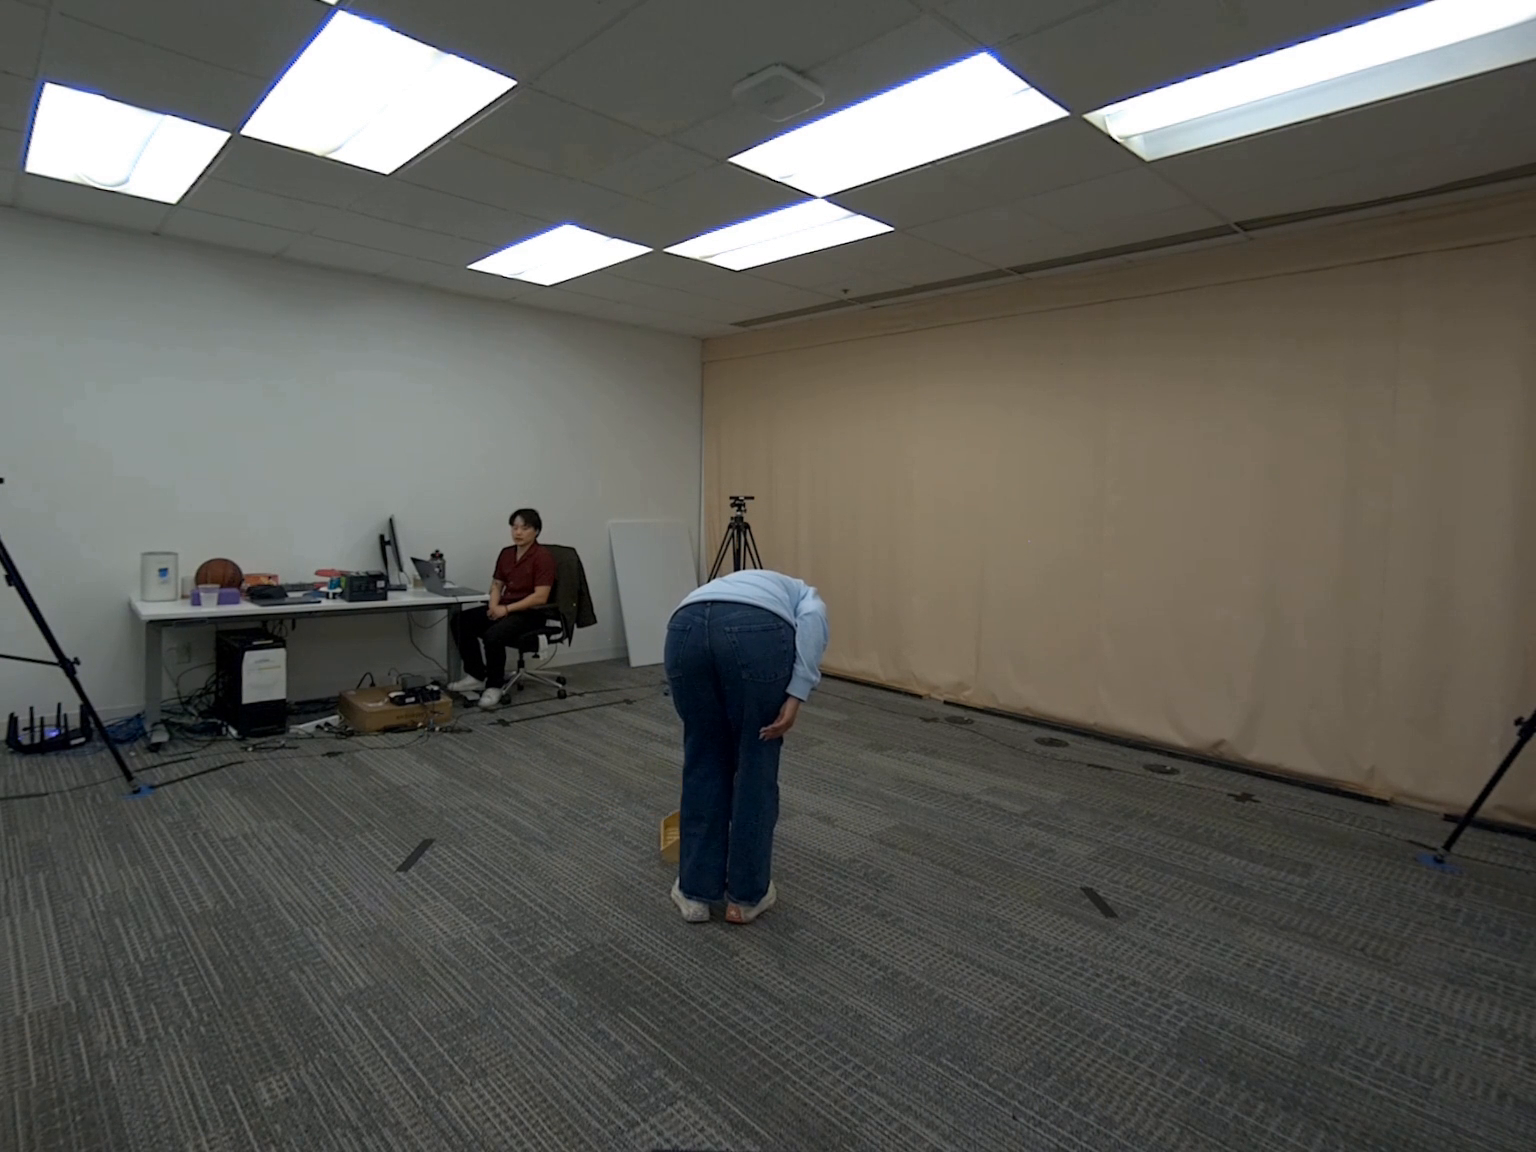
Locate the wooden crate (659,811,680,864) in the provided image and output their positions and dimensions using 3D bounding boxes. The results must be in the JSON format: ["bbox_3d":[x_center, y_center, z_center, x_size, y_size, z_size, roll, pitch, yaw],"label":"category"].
[{"bbox_3d":[-0.284,0.949,3.350,0.301,0.272,0.327,2,4,-6],"label":"wooden crate"}]
